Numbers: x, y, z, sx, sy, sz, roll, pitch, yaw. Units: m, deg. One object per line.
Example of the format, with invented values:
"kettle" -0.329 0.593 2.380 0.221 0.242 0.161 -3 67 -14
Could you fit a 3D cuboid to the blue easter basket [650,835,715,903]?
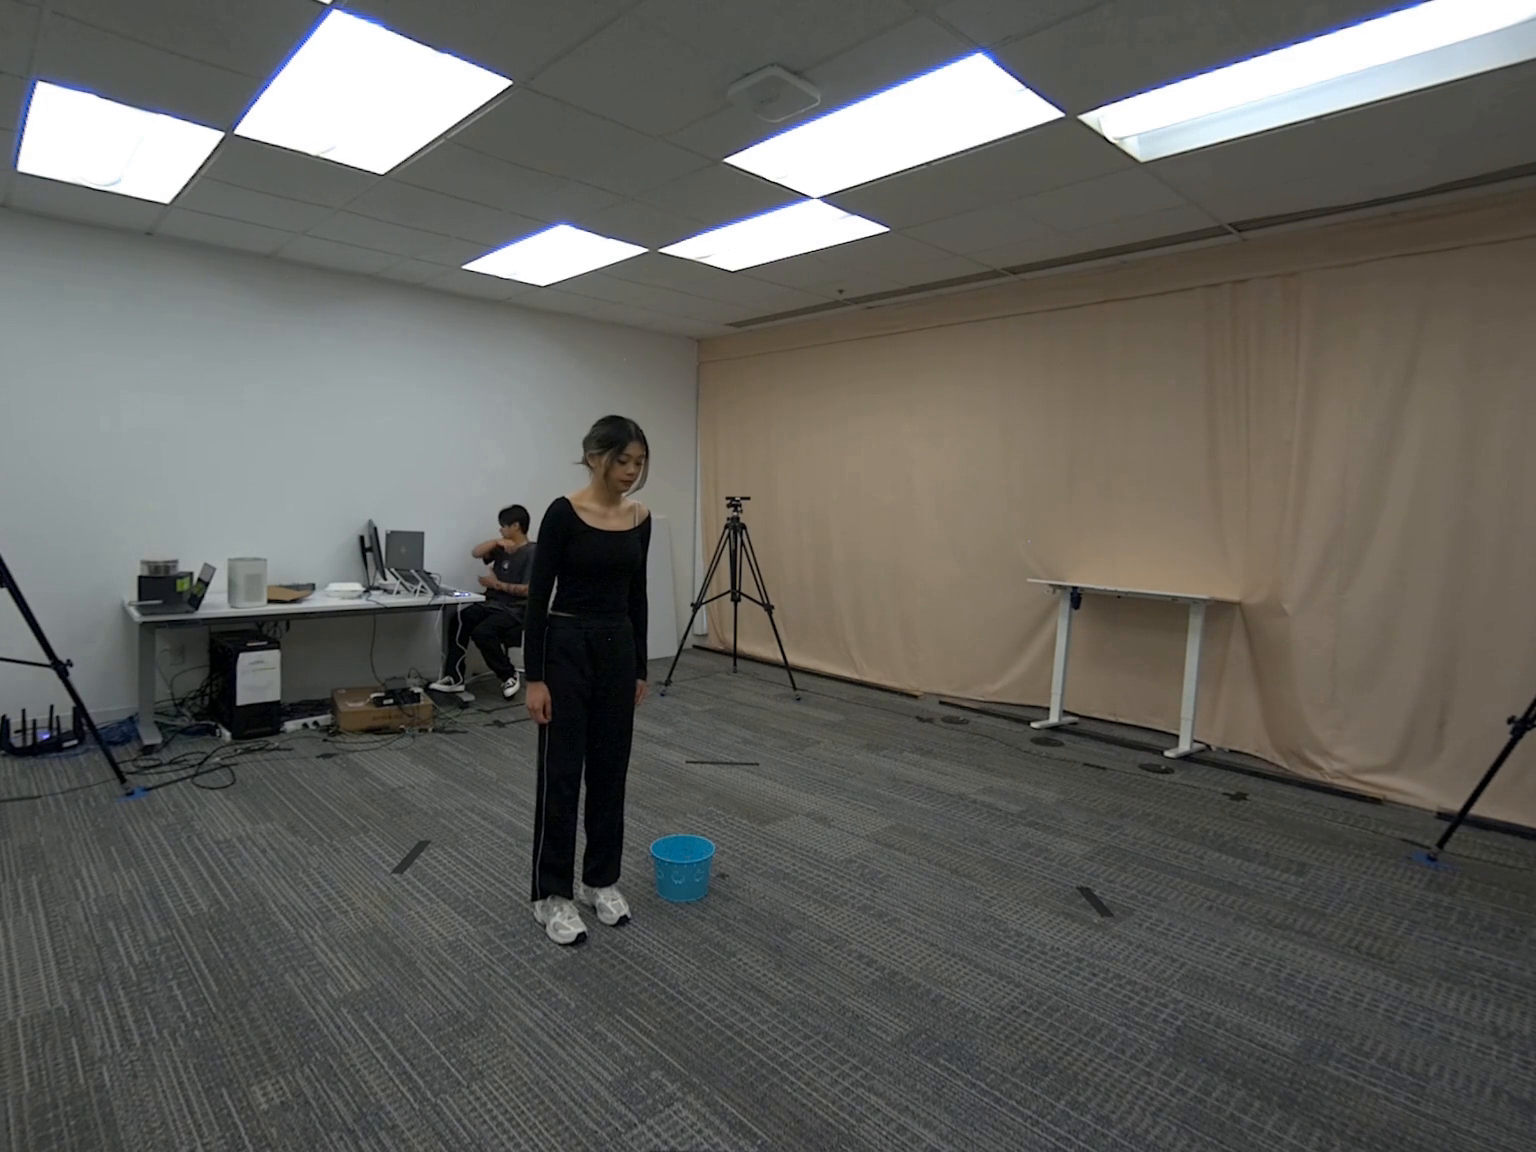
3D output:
"blue easter basket" -0.308 1.035 2.985 0.243 0.155 0.244 1 5 -1
